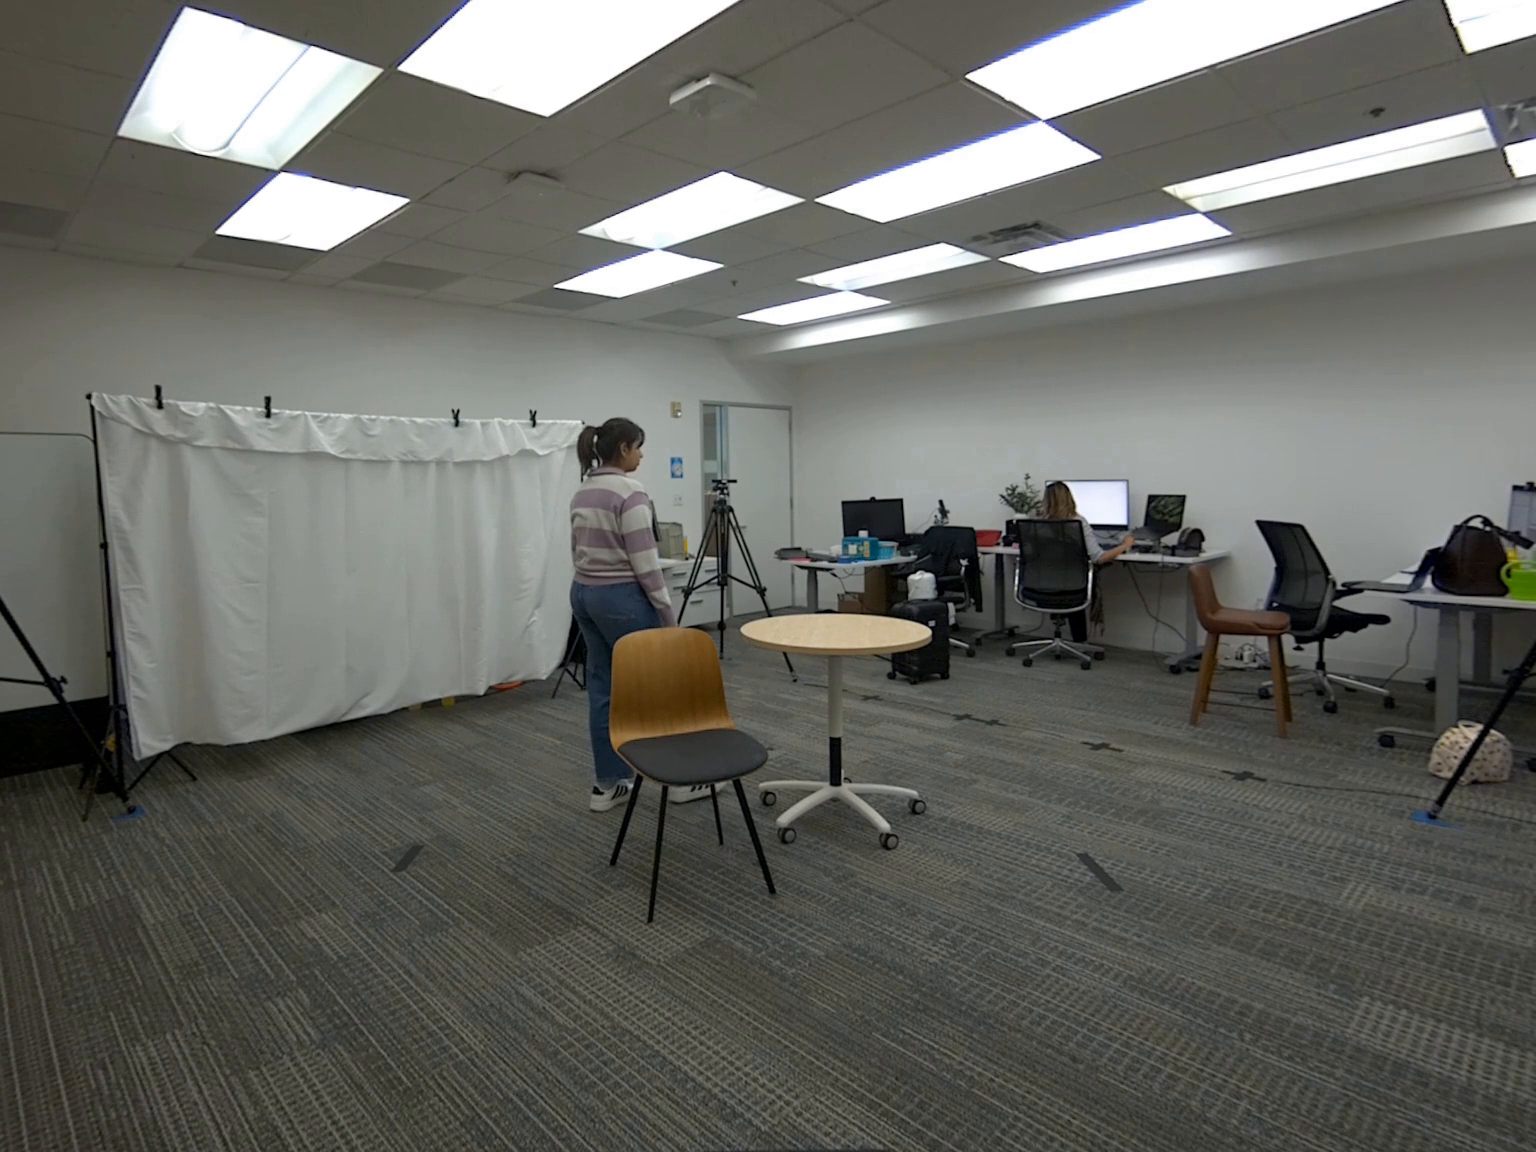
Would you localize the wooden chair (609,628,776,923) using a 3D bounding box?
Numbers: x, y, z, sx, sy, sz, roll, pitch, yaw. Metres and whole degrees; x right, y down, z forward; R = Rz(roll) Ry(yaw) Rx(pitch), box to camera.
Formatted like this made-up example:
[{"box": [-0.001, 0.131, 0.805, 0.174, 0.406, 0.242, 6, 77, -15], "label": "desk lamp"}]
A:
[{"box": [-0.273, 0.641, 2.955, 0.468, 0.877, 0.534, -3, 1, -25], "label": "wooden chair"}]
